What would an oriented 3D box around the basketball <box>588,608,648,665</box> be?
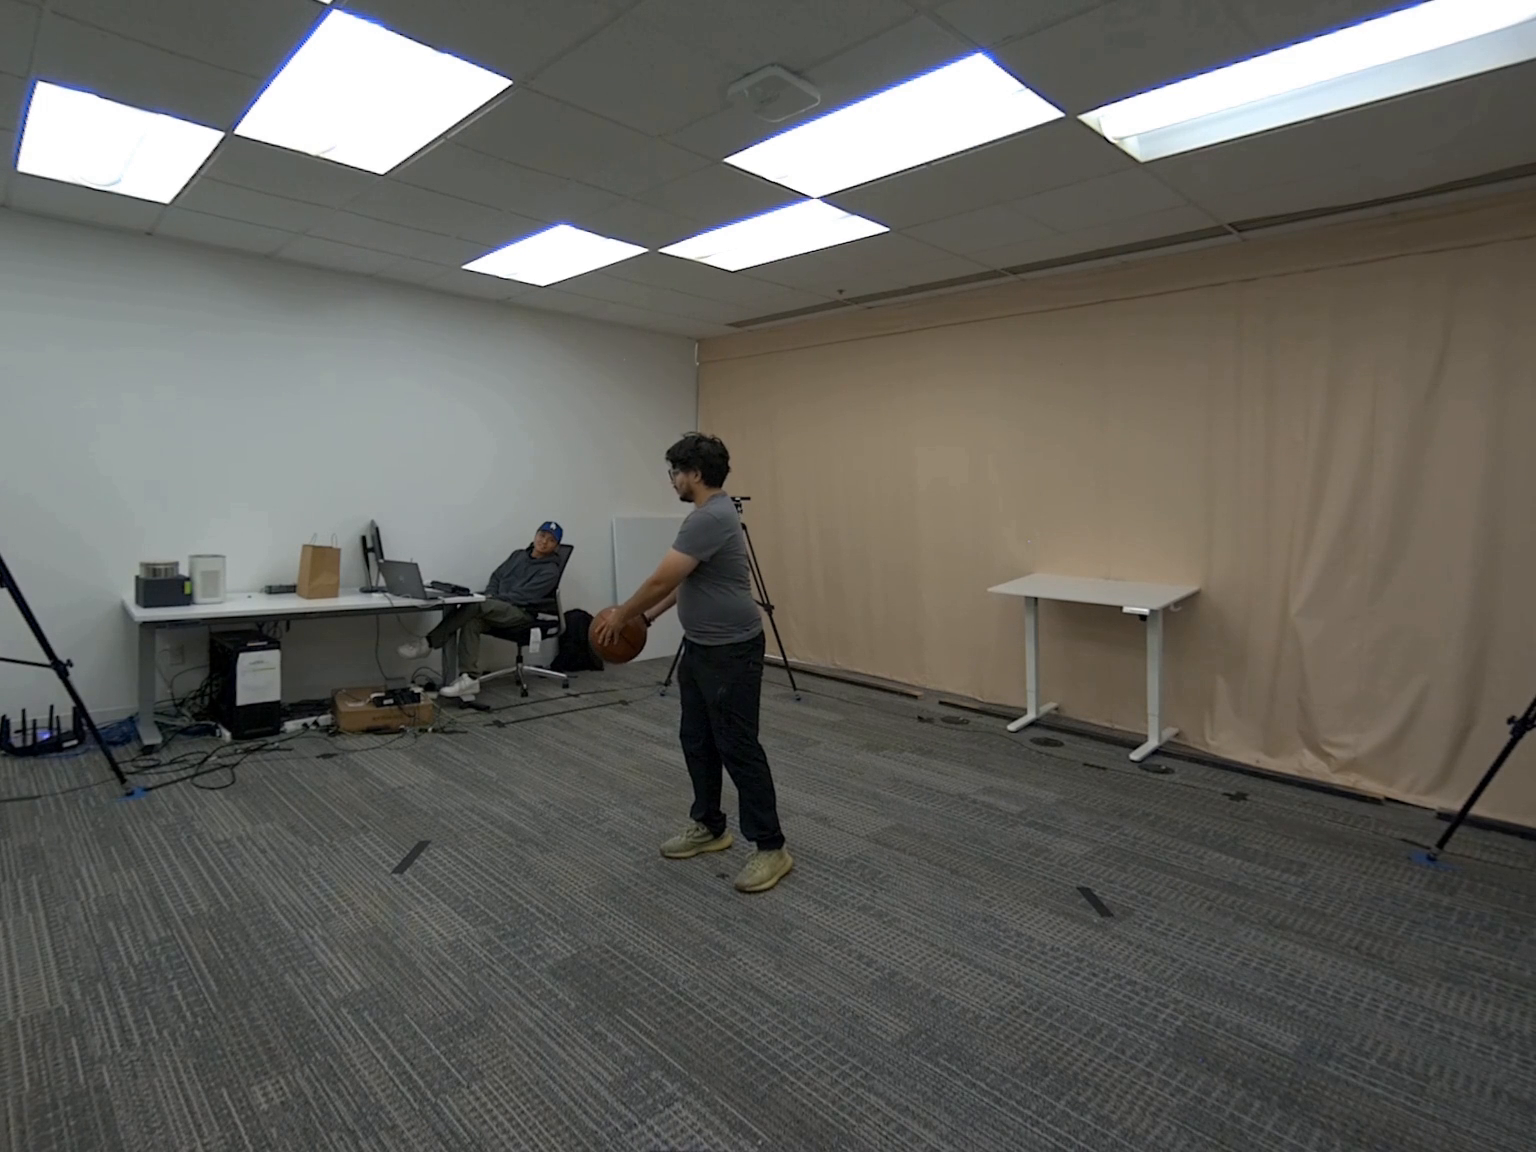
[{"bbox_3d":[-0.617,0.239,3.448,0.236,0.235,0.237,1,4,-1],"label":"basketball"}]
